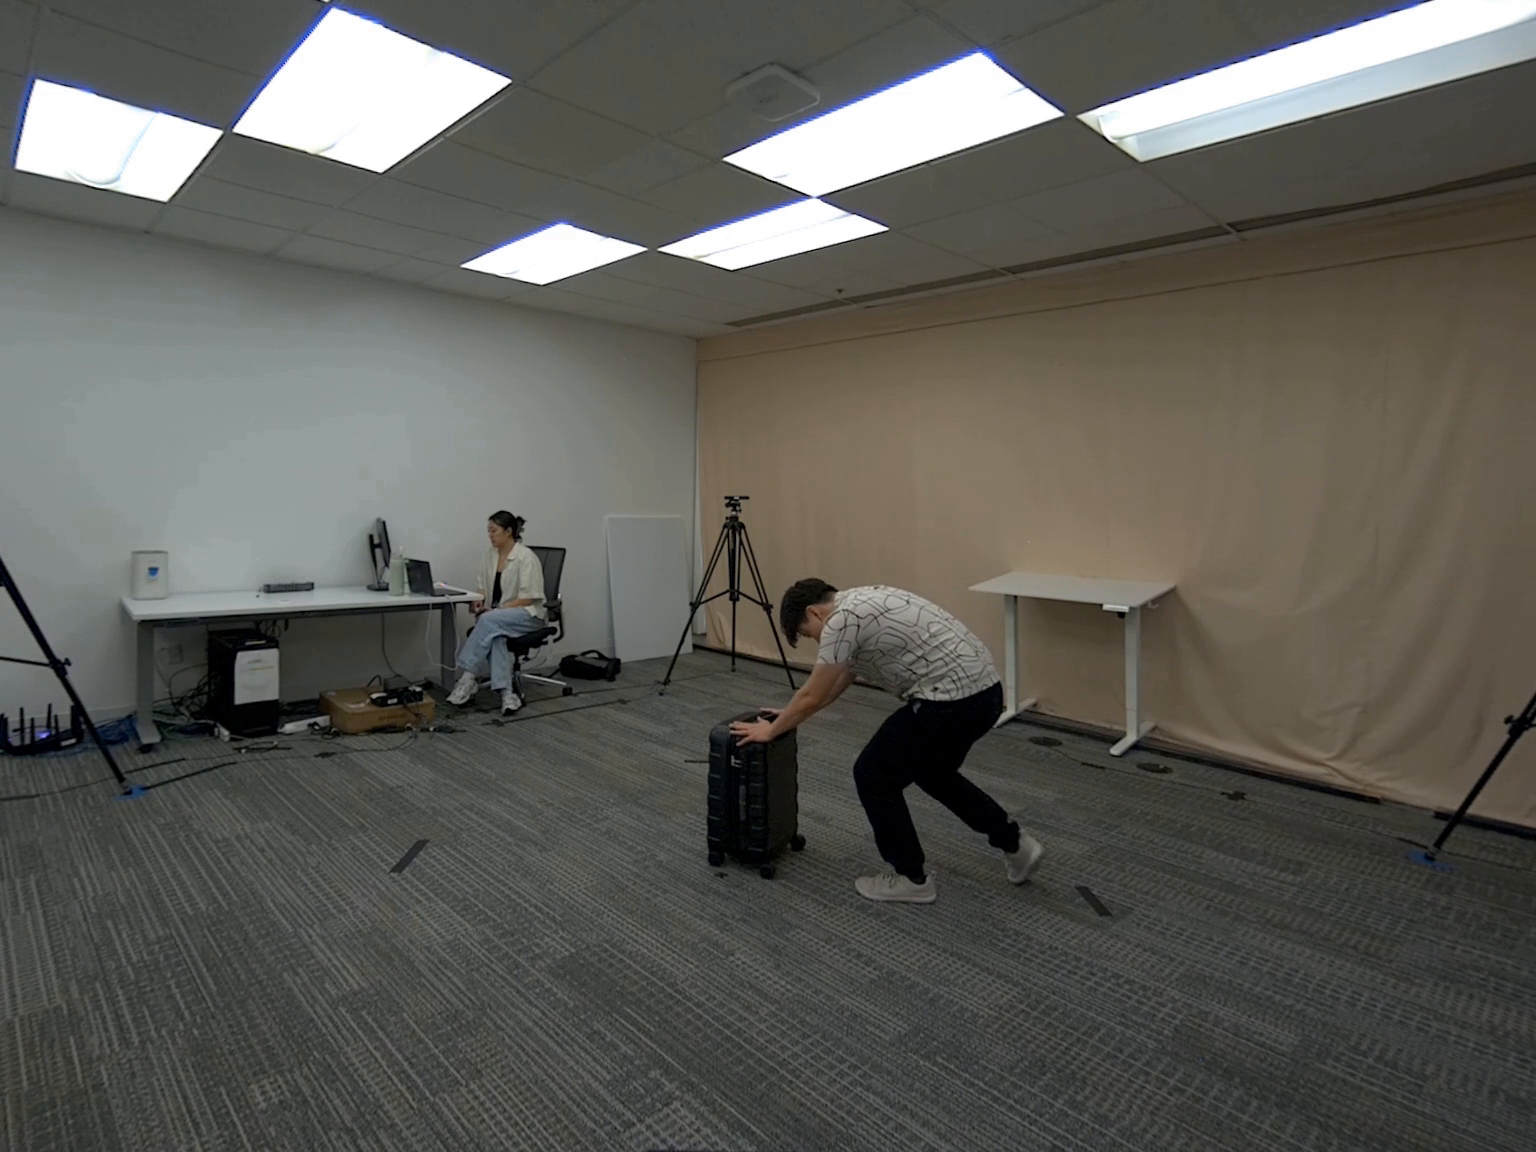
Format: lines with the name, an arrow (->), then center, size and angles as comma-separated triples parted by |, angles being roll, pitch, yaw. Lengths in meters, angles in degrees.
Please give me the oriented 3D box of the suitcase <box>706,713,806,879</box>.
suitcase -> -0.057, 0.814, 3.269 | 0.253, 0.548, 0.368 | 1, 3, 28
